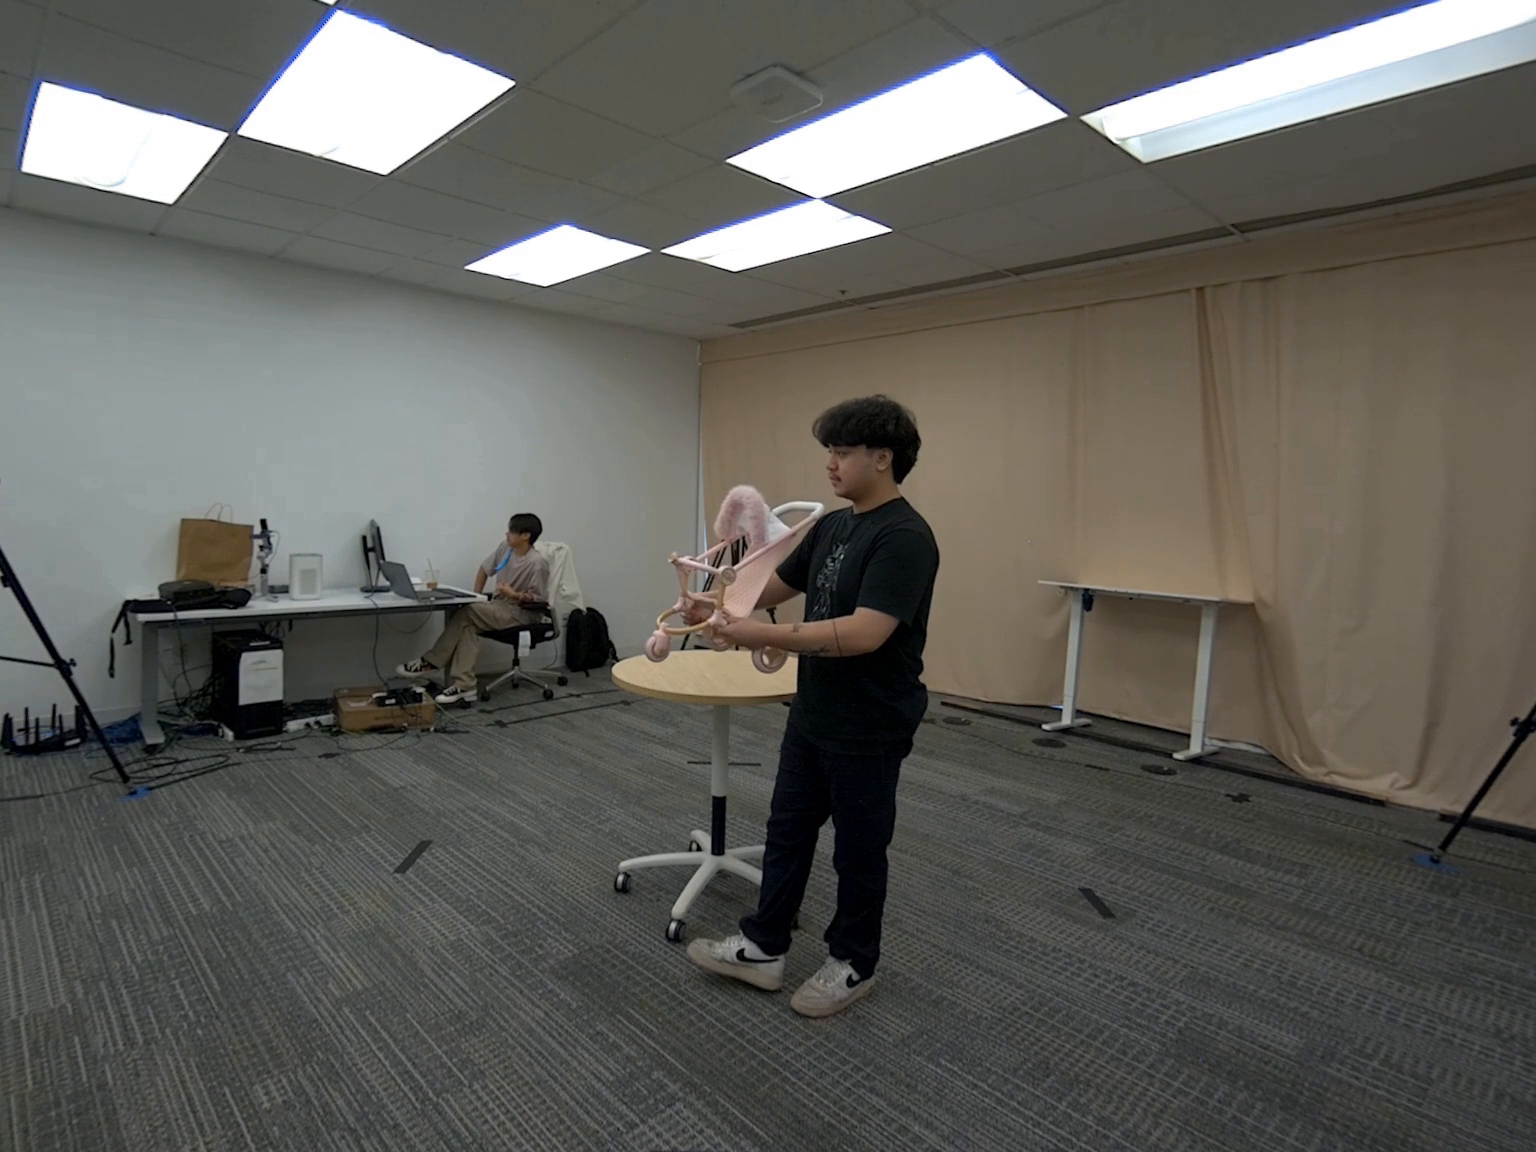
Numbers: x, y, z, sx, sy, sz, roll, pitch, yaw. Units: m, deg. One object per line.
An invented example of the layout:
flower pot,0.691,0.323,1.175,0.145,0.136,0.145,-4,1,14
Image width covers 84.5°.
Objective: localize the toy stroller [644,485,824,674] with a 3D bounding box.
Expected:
toy stroller,-0.103,0.005,2.201,0.333,0.536,0.288,21,-4,-27
